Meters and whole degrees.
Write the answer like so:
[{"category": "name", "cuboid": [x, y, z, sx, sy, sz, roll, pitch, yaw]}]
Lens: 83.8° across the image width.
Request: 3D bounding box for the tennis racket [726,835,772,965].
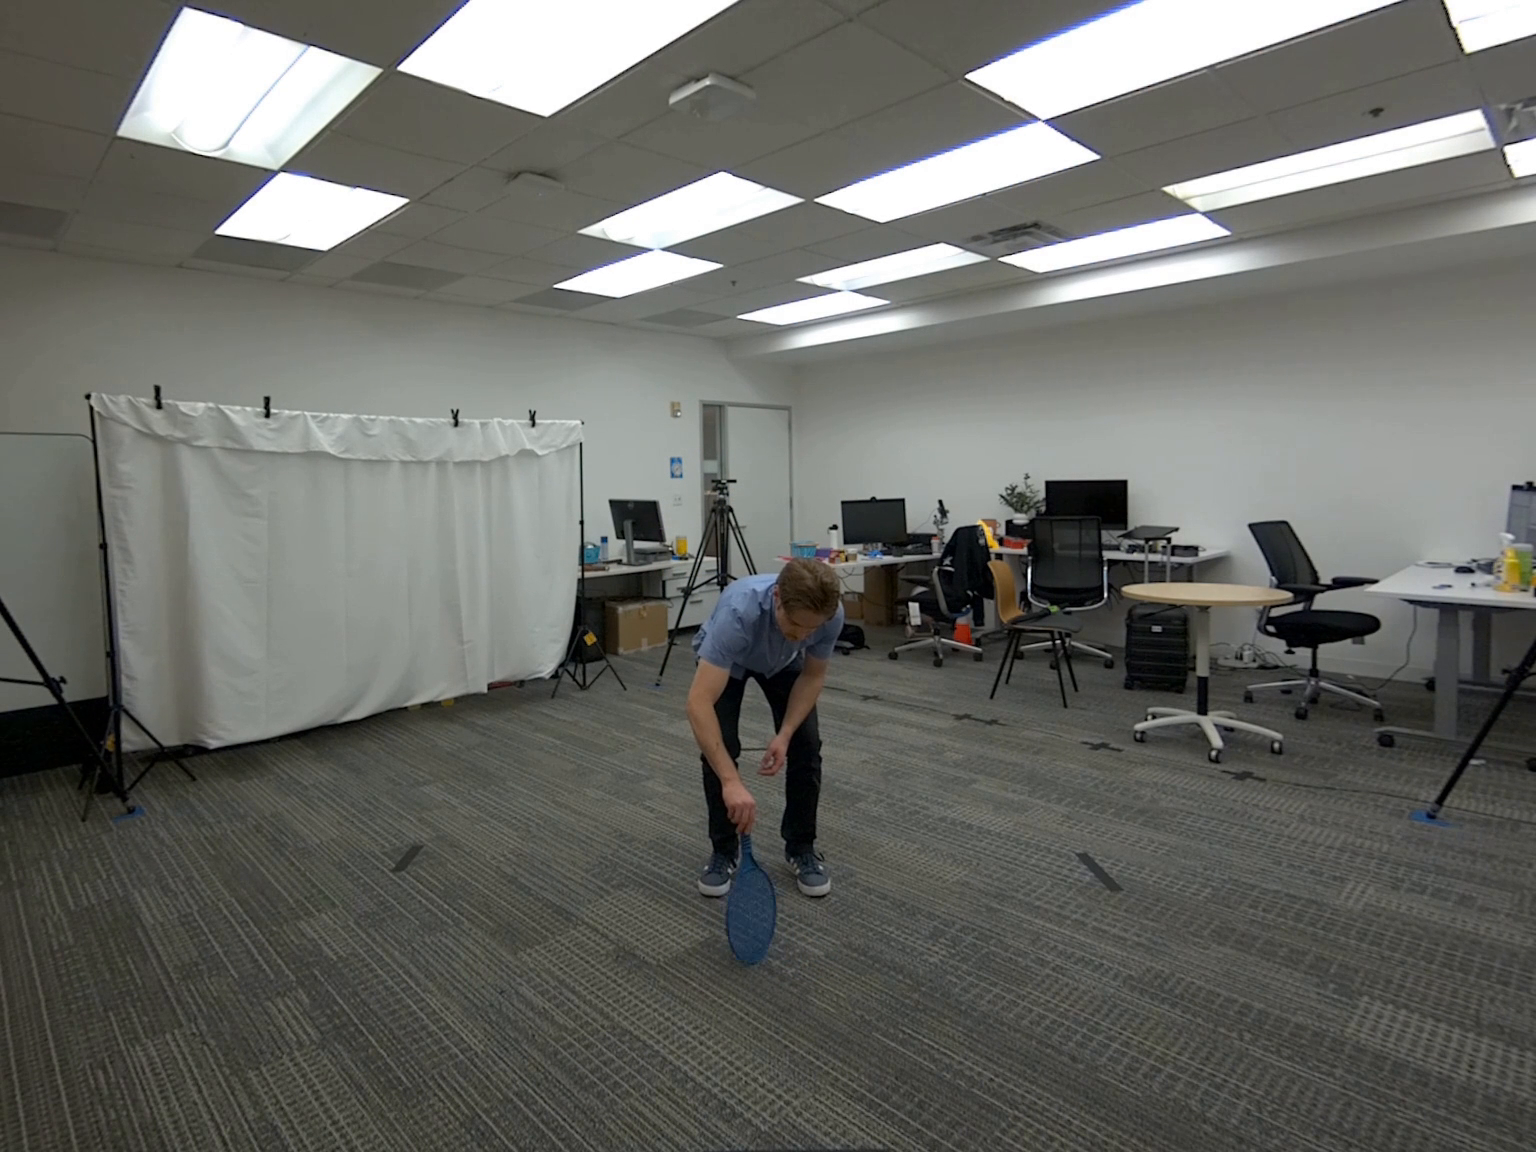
[{"category": "tennis racket", "cuboid": [-0.054, 0.898, 2.504, 0.032, 0.433, 0.212, -3, 0, 7]}]
